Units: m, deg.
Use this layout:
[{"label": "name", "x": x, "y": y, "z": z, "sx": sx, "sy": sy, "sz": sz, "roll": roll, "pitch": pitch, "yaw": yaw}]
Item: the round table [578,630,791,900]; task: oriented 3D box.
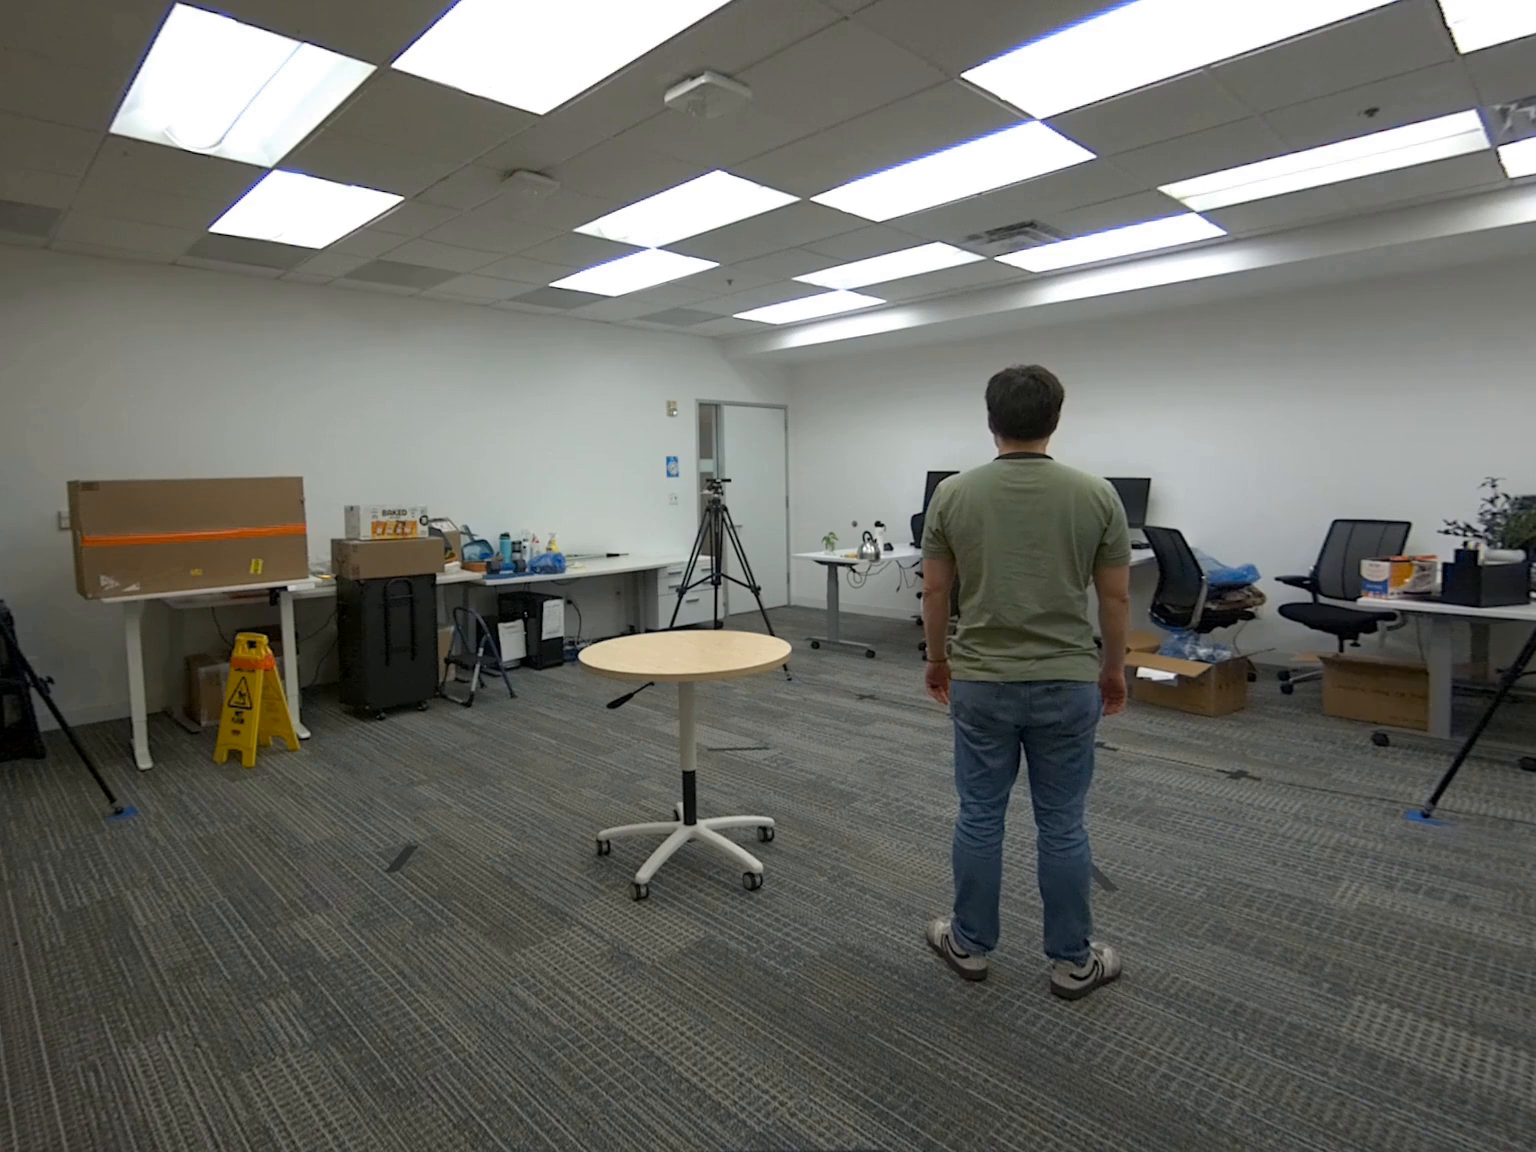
[{"label": "round table", "x": -0.285, "y": 0.659, "z": 3.113, "sx": 0.763, "sy": 0.791, "sz": 0.768, "roll": -2, "pitch": 5, "yaw": -2}]
